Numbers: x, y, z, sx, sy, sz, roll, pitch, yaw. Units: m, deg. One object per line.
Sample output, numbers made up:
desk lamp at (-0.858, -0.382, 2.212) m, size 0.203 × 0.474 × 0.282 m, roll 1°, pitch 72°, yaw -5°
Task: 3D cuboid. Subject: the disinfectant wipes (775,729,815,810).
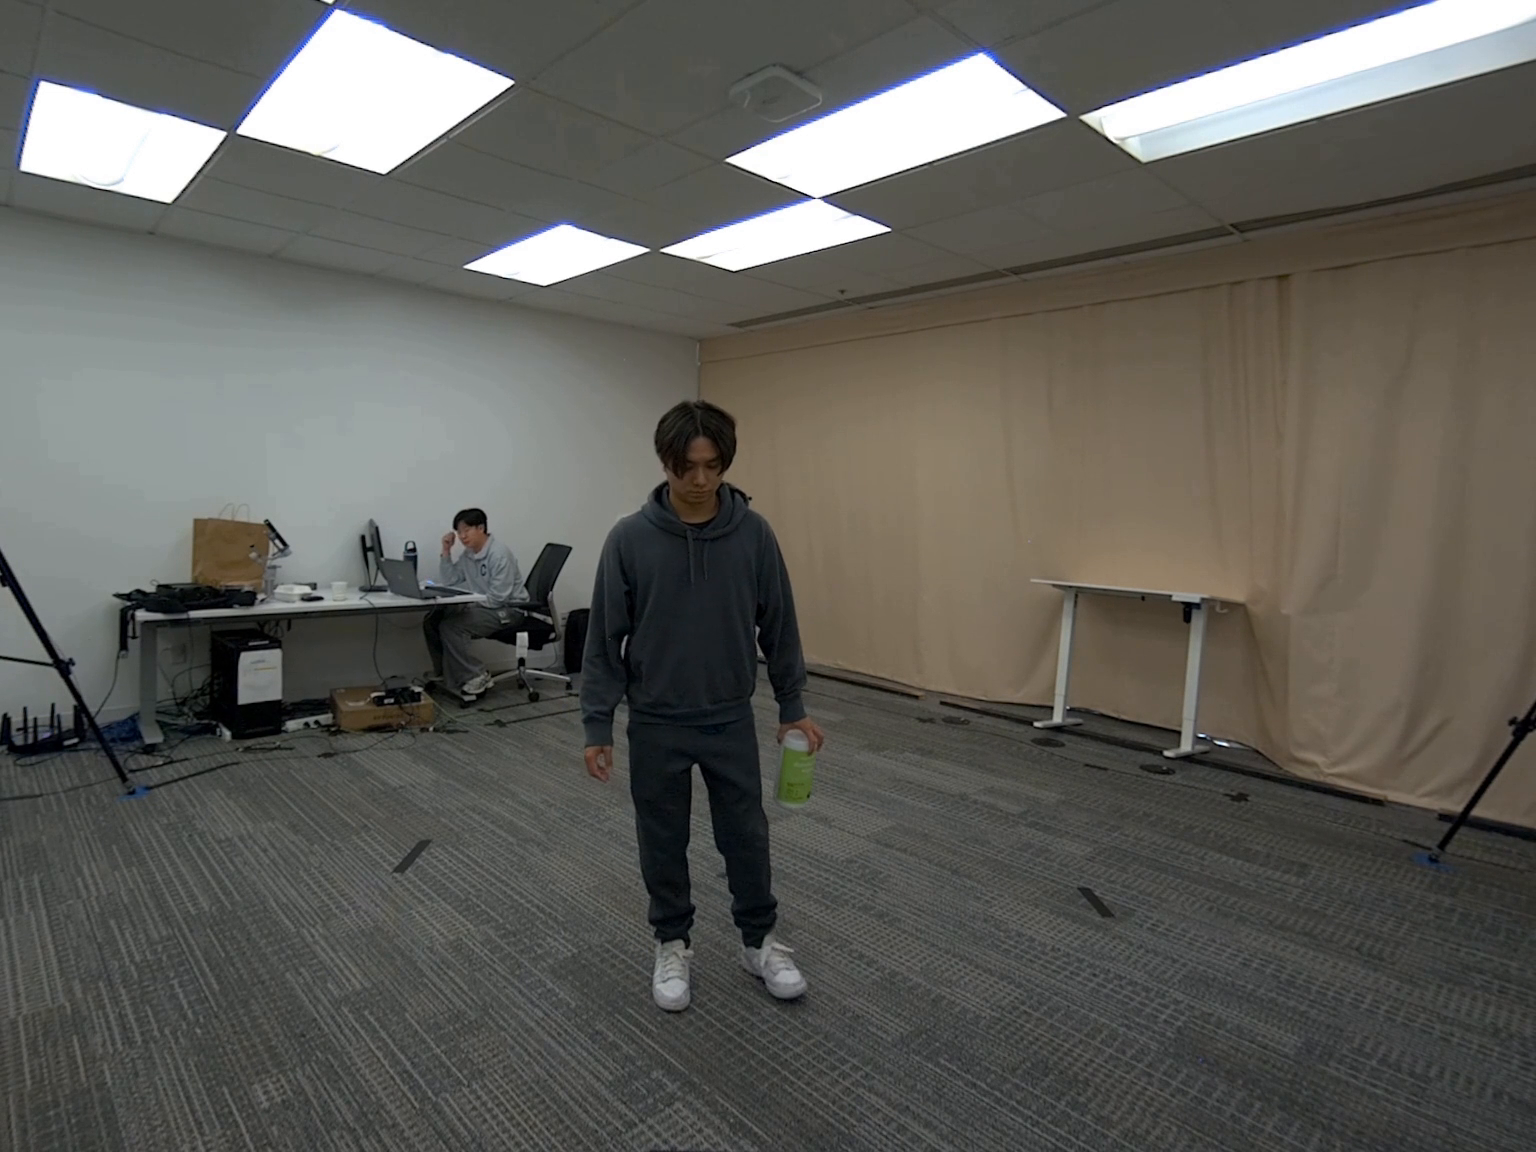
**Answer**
disinfectant wipes at (0.063, 0.563, 2.424) m, size 0.117 × 0.215 × 0.119 m, roll 5°, pitch 14°, yaw -3°
